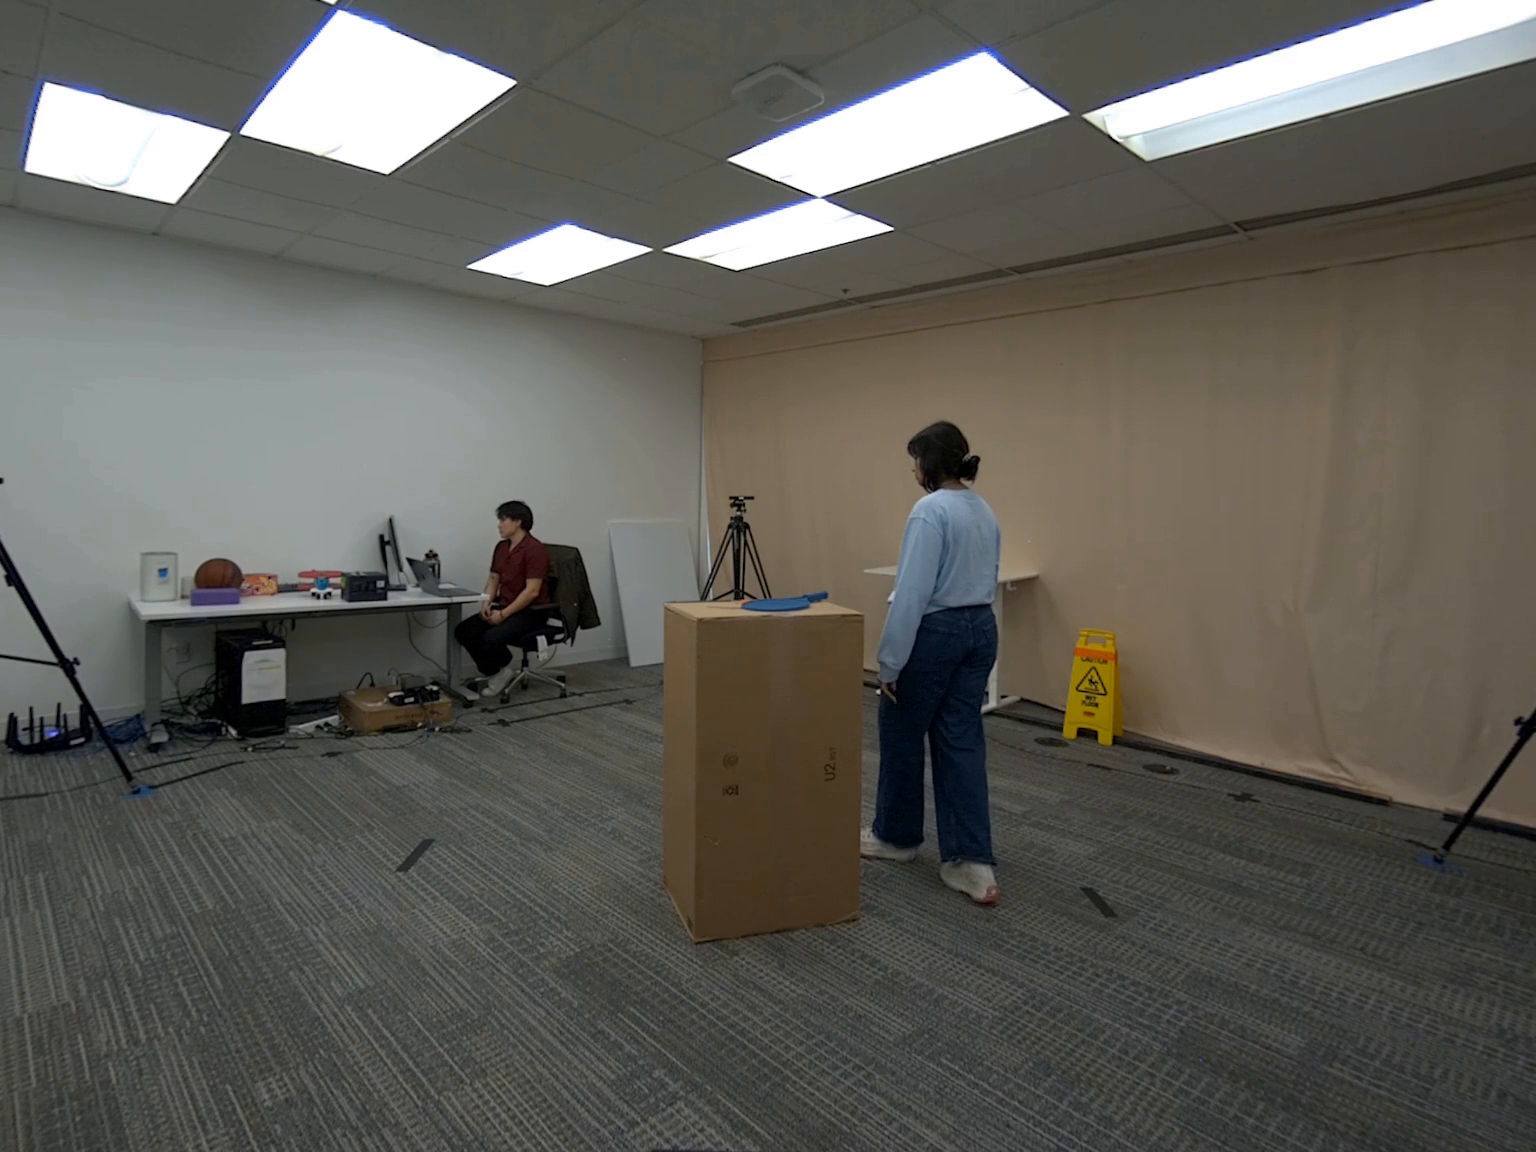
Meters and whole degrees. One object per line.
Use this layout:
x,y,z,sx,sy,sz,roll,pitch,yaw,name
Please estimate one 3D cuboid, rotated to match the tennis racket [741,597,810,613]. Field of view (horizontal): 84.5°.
0.076,0.096,2.907,0.219,0.031,0.424,5,8,38,tennis racket
